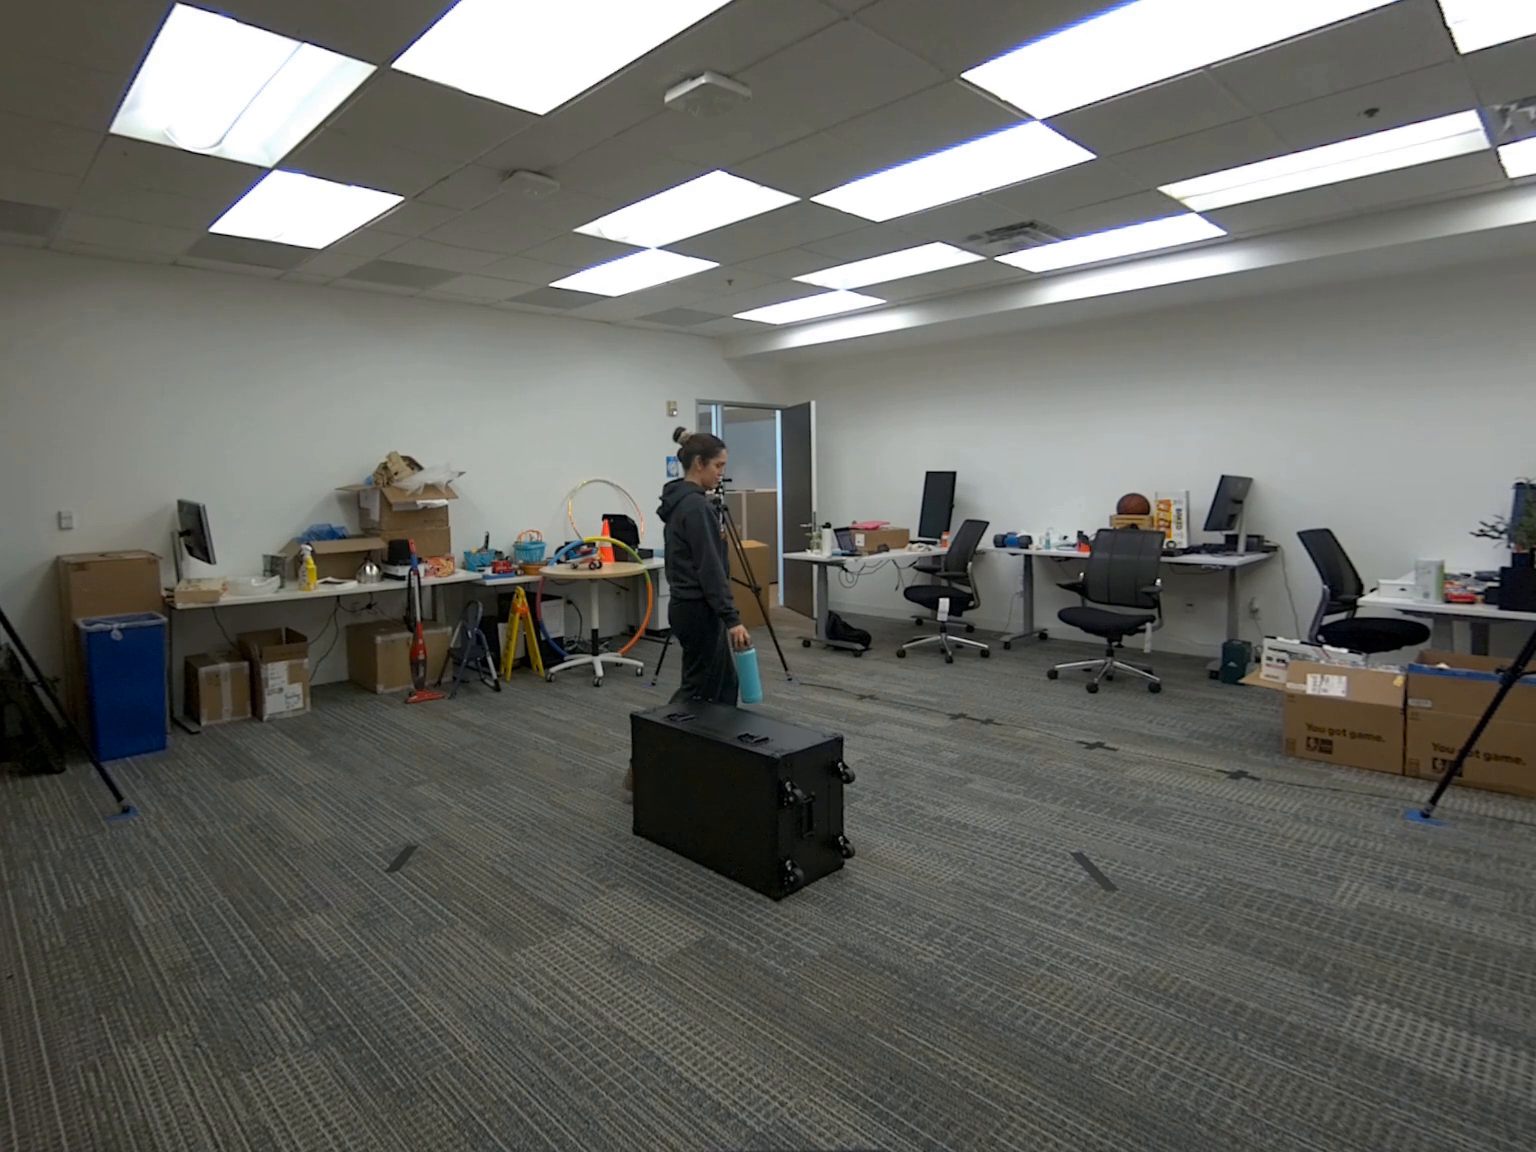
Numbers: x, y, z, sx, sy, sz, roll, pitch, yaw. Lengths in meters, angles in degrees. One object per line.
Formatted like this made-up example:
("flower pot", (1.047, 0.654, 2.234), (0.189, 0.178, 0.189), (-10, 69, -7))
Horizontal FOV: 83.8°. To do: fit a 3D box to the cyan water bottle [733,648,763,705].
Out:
("cyan water bottle", (-0.092, 0.399, 3.608), (0.092, 0.281, 0.093), (-7, 8, -1))
